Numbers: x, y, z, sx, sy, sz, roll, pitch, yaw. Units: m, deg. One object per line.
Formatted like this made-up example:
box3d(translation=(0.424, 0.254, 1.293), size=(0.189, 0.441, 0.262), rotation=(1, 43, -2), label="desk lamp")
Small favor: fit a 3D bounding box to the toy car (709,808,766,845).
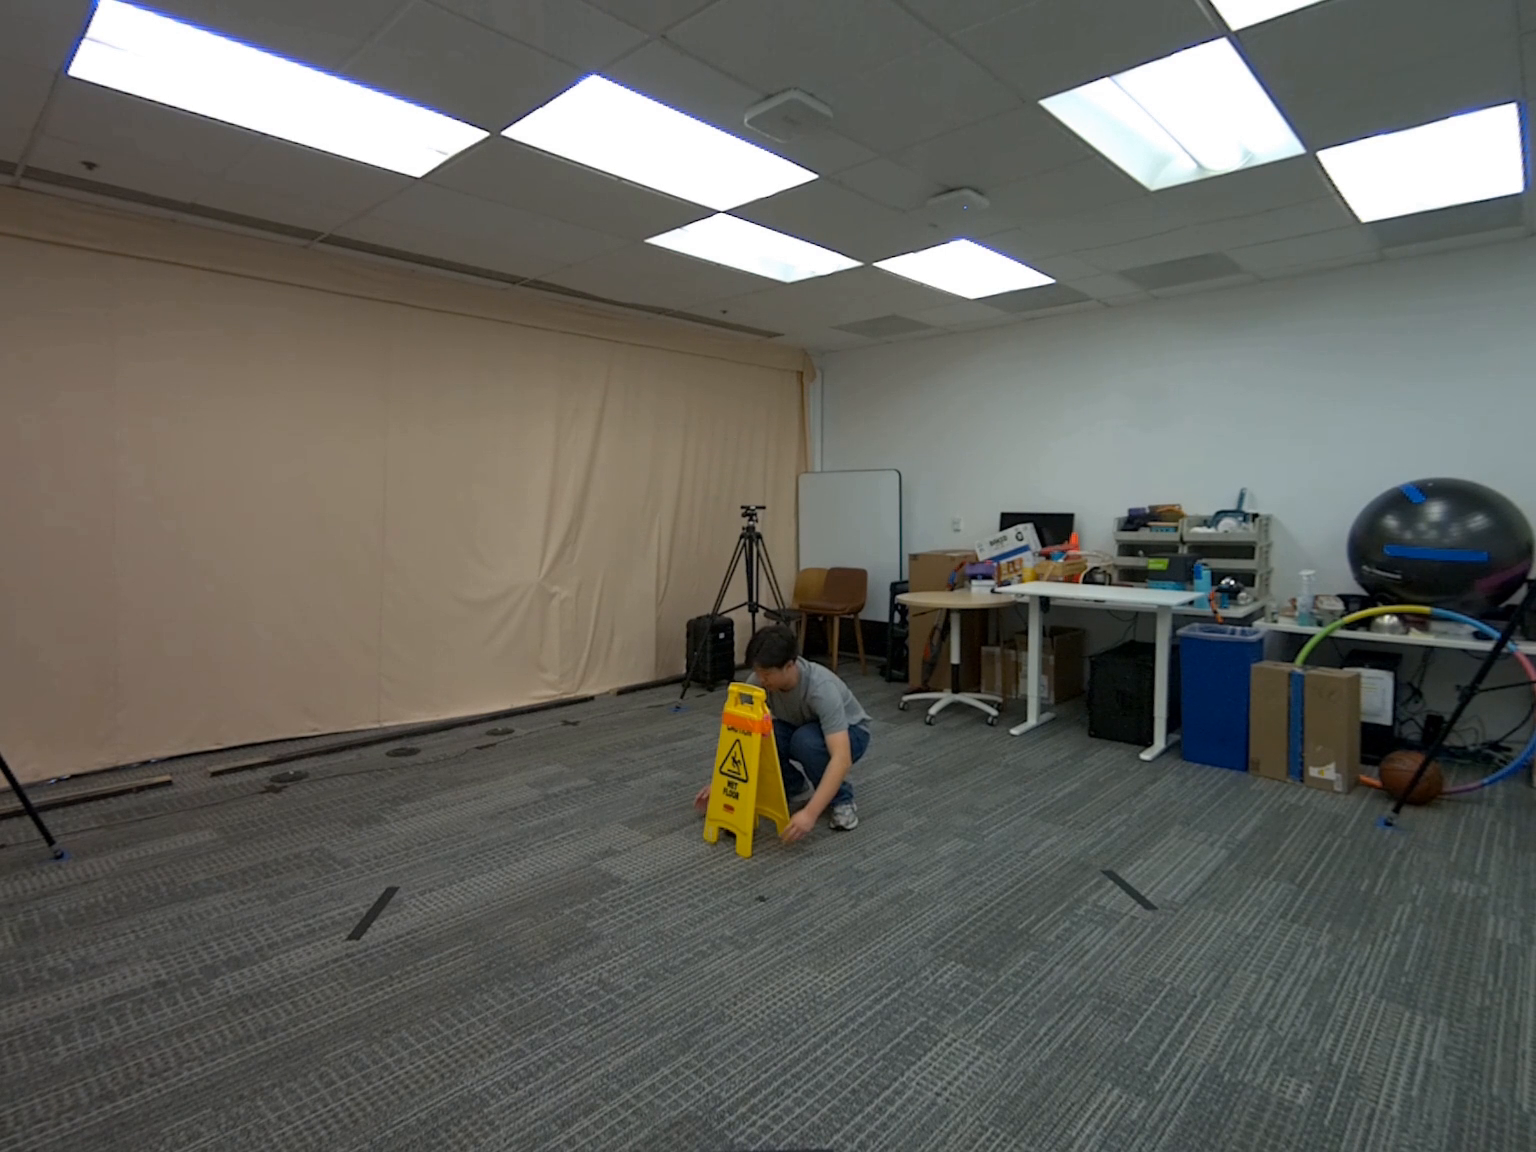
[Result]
box3d(translation=(-0.135, 1.067, 3.626), size=(0.127, 0.083, 0.260), rotation=(-5, -3, -29), label="toy car")
